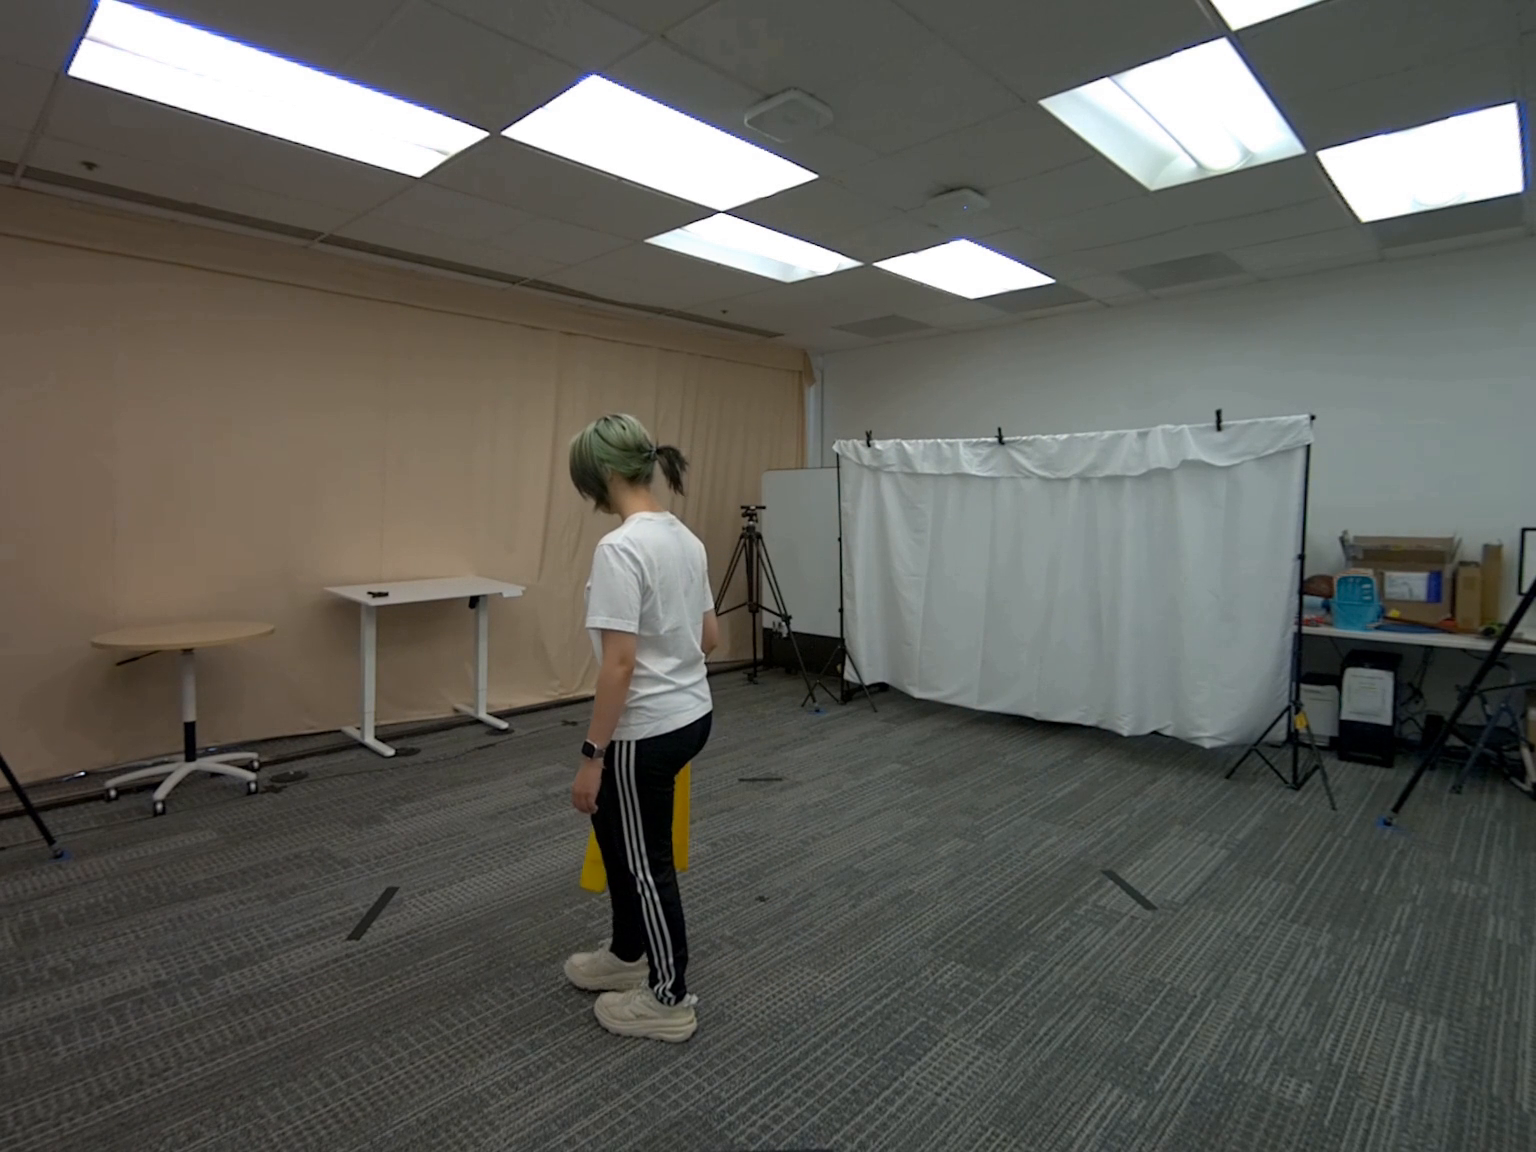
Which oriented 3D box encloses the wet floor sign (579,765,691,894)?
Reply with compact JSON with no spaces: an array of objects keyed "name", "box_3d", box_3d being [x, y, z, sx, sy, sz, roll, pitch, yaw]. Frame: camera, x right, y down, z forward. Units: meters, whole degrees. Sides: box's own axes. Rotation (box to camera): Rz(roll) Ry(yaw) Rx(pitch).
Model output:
[{"name":"wet floor sign","box_3d":[-0.373,0.637,2.603,0.286,0.644,0.287,10,7,10]}]
